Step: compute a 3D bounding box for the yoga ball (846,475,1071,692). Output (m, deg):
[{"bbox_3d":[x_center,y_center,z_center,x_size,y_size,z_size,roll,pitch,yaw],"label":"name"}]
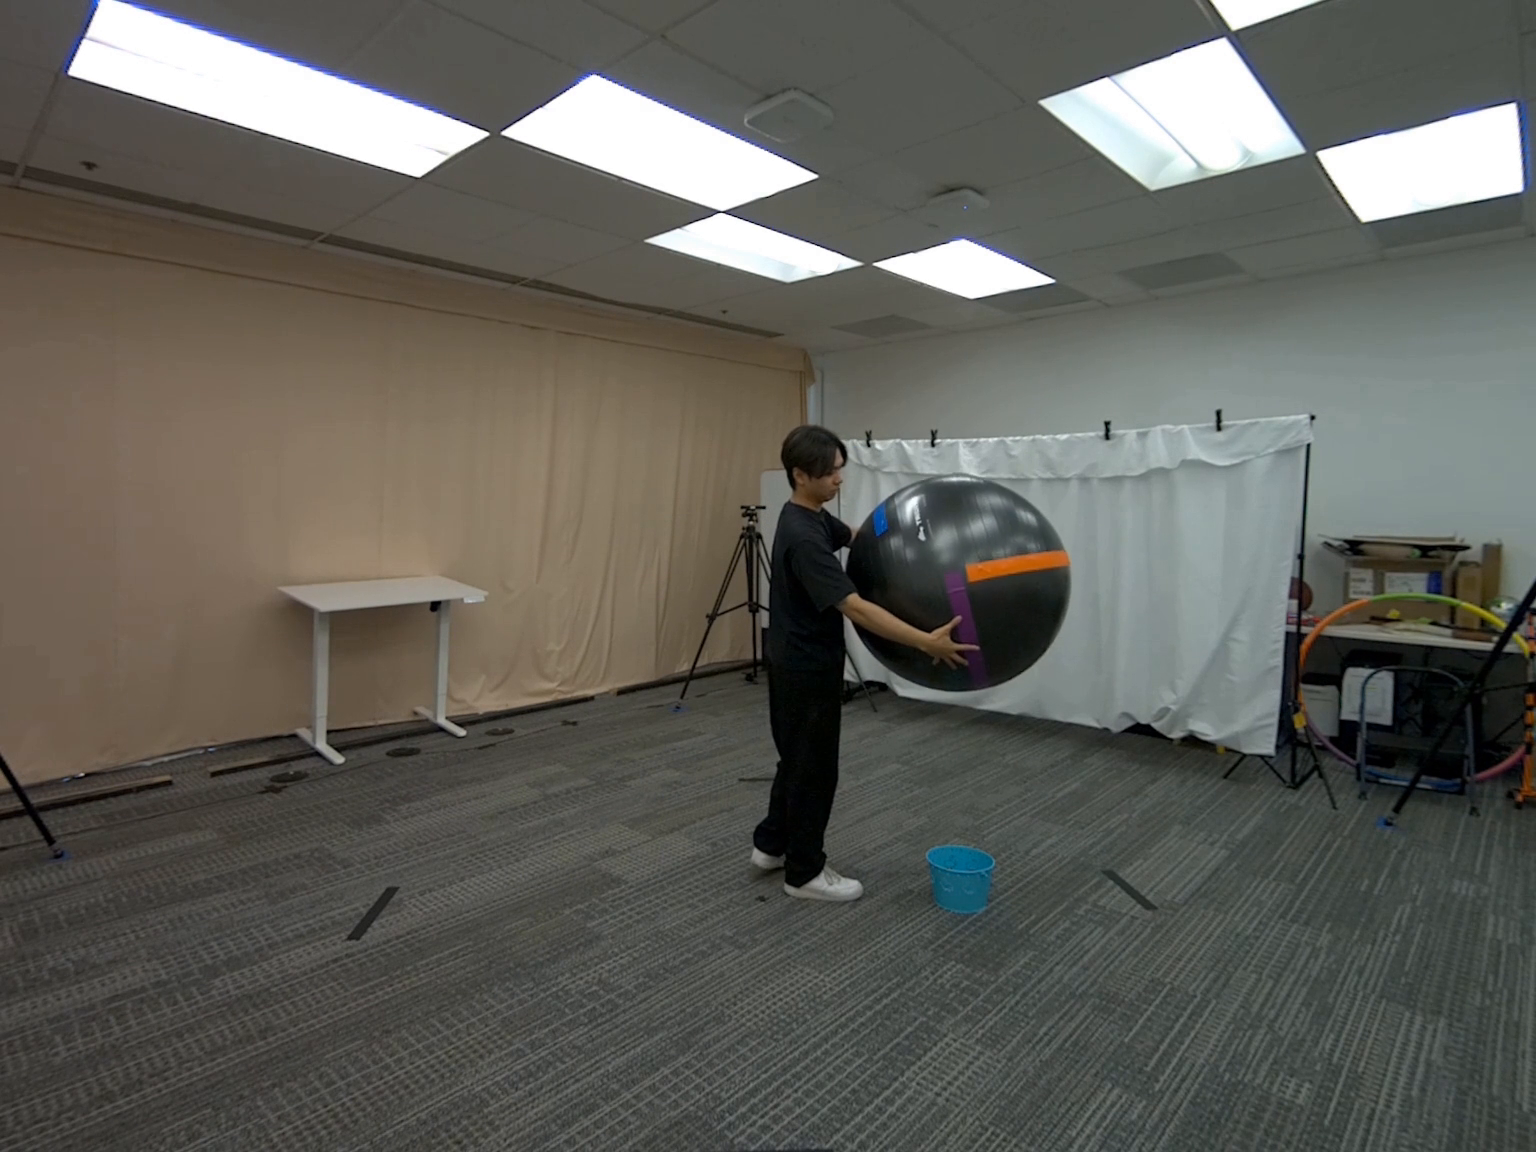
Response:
[{"bbox_3d":[0.667,0.026,2.966,0.757,0.756,0.760,0,4,-2],"label":"yoga ball"}]
